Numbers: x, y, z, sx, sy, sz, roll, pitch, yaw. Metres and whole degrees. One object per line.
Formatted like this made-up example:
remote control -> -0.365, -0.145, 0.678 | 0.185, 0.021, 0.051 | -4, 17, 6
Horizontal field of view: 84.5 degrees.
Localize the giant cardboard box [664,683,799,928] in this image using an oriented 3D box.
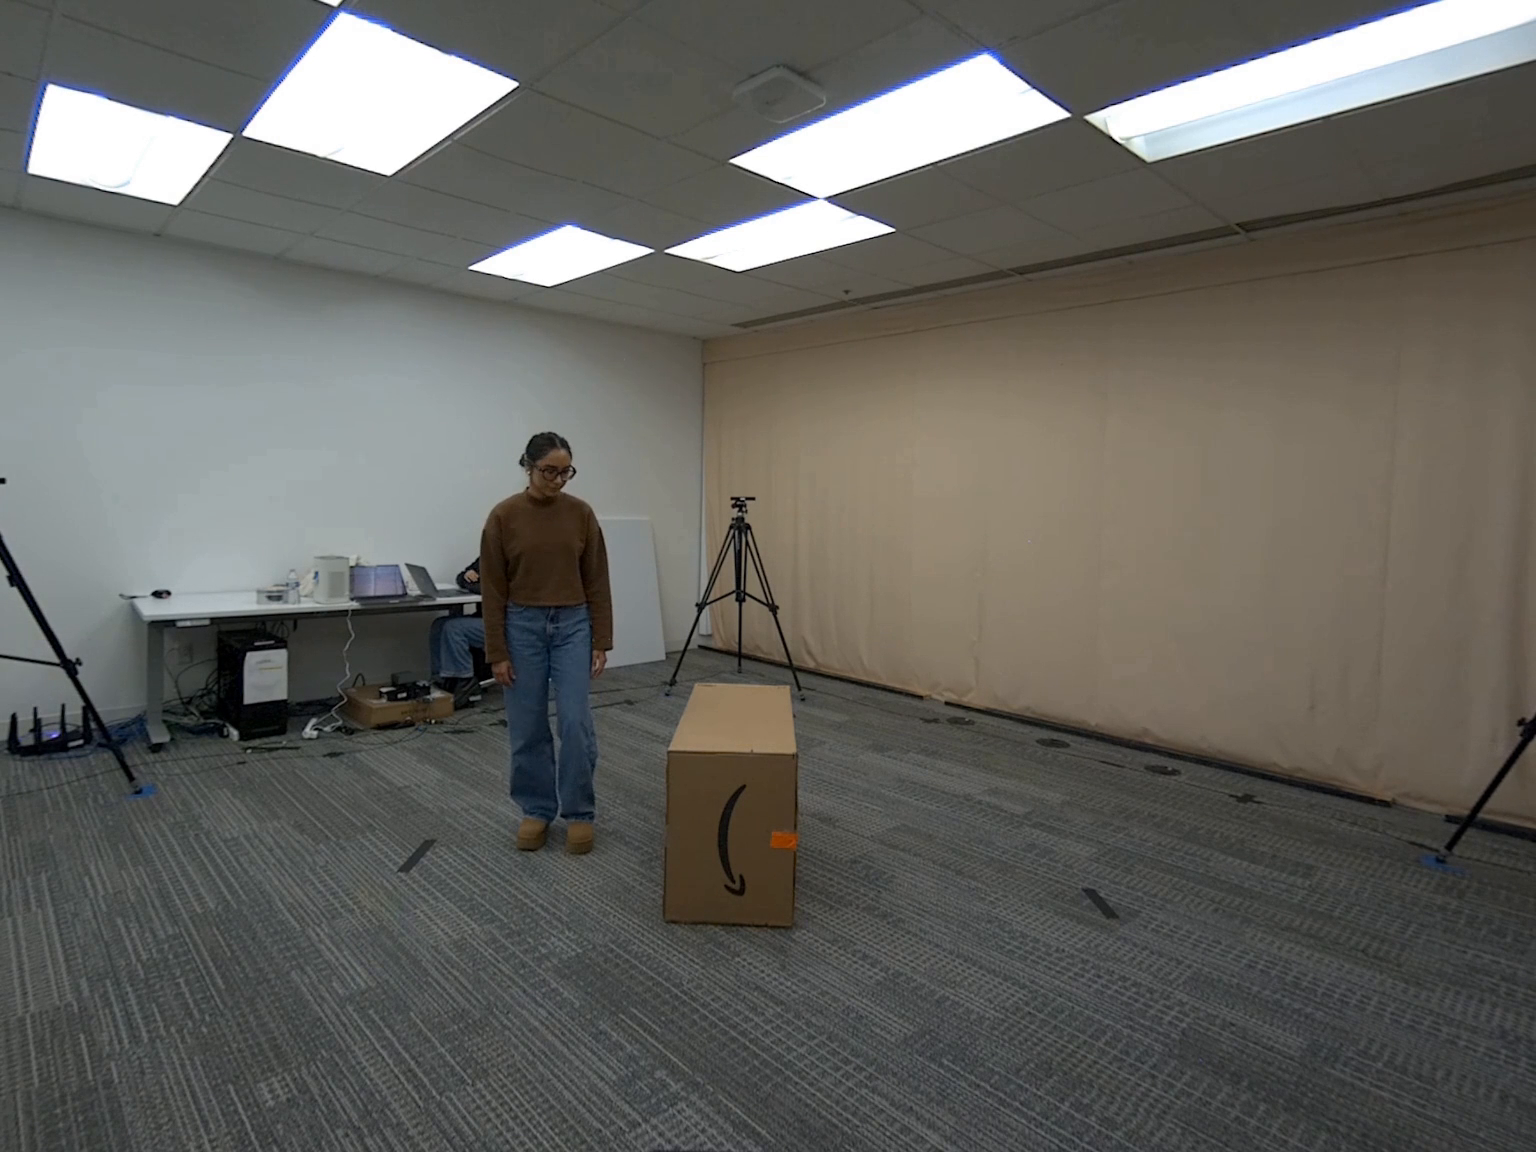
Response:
giant cardboard box -> -0.124, 0.810, 3.231 | 0.447, 0.582, 1.028 | 0, 5, 1
